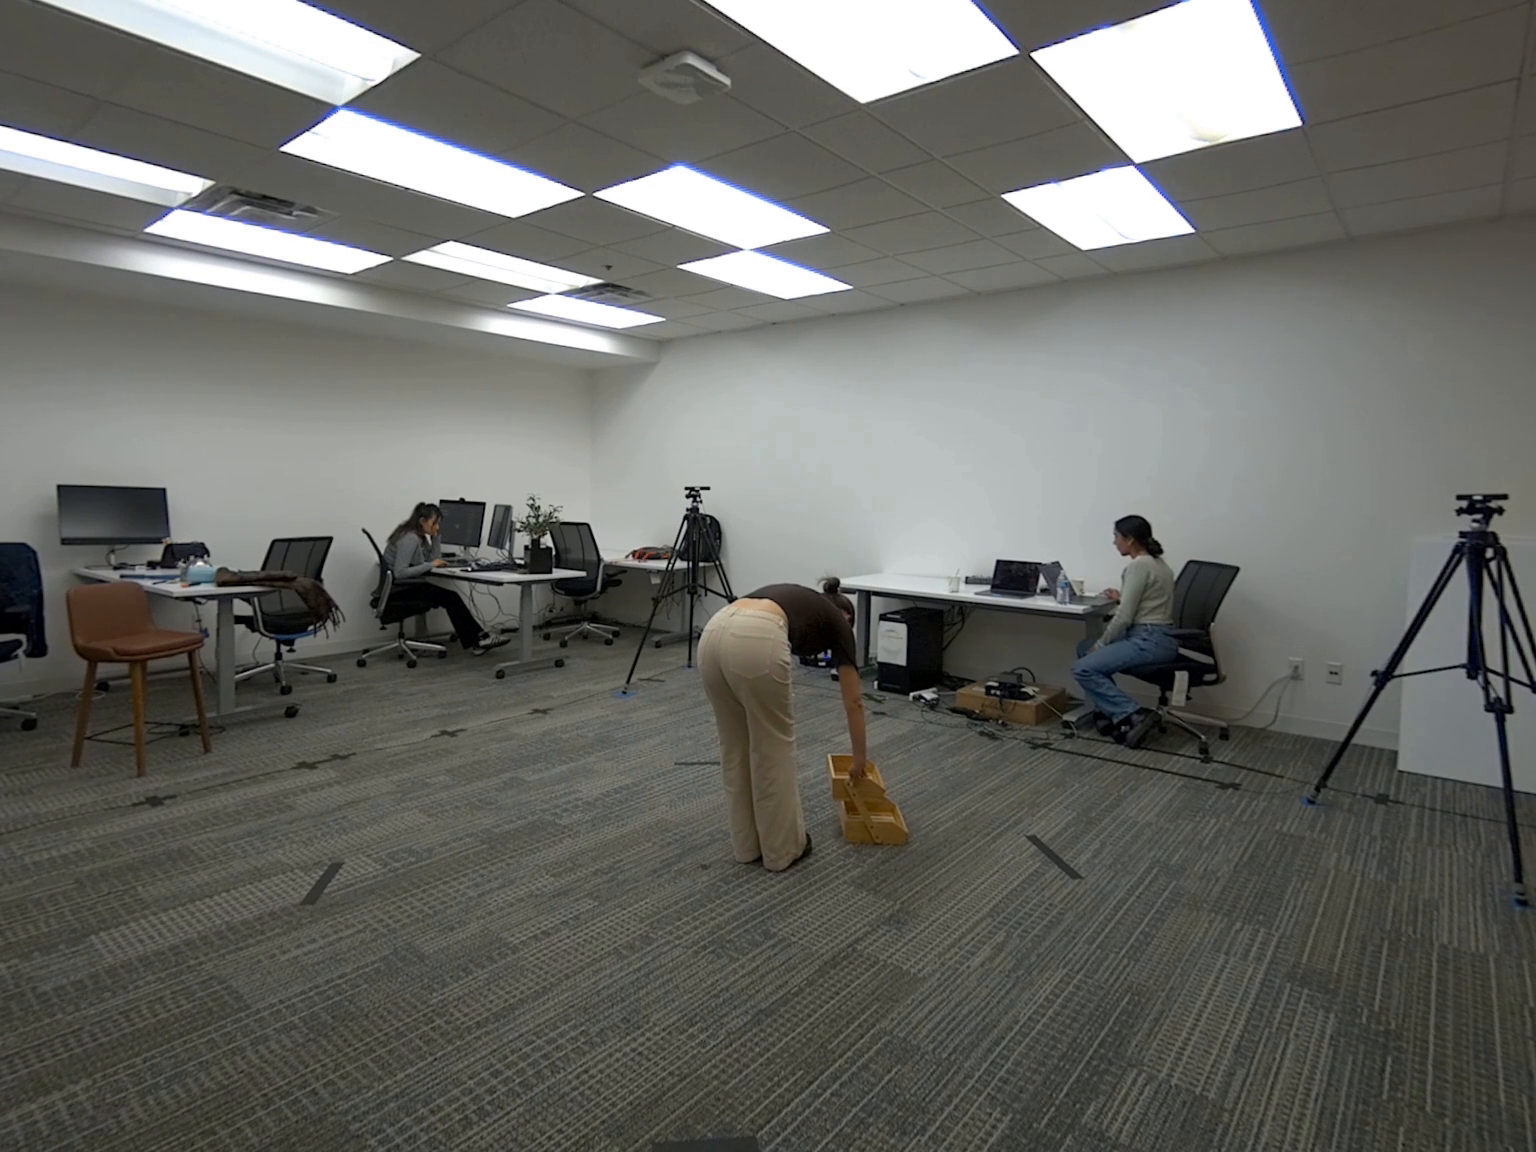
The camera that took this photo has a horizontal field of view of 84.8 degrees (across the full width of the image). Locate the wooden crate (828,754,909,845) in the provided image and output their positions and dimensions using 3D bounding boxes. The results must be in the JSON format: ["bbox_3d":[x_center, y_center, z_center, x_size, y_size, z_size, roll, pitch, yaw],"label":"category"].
[{"bbox_3d":[0.402,0.900,3.495,0.303,0.272,0.325,0,5,2],"label":"wooden crate"}]
